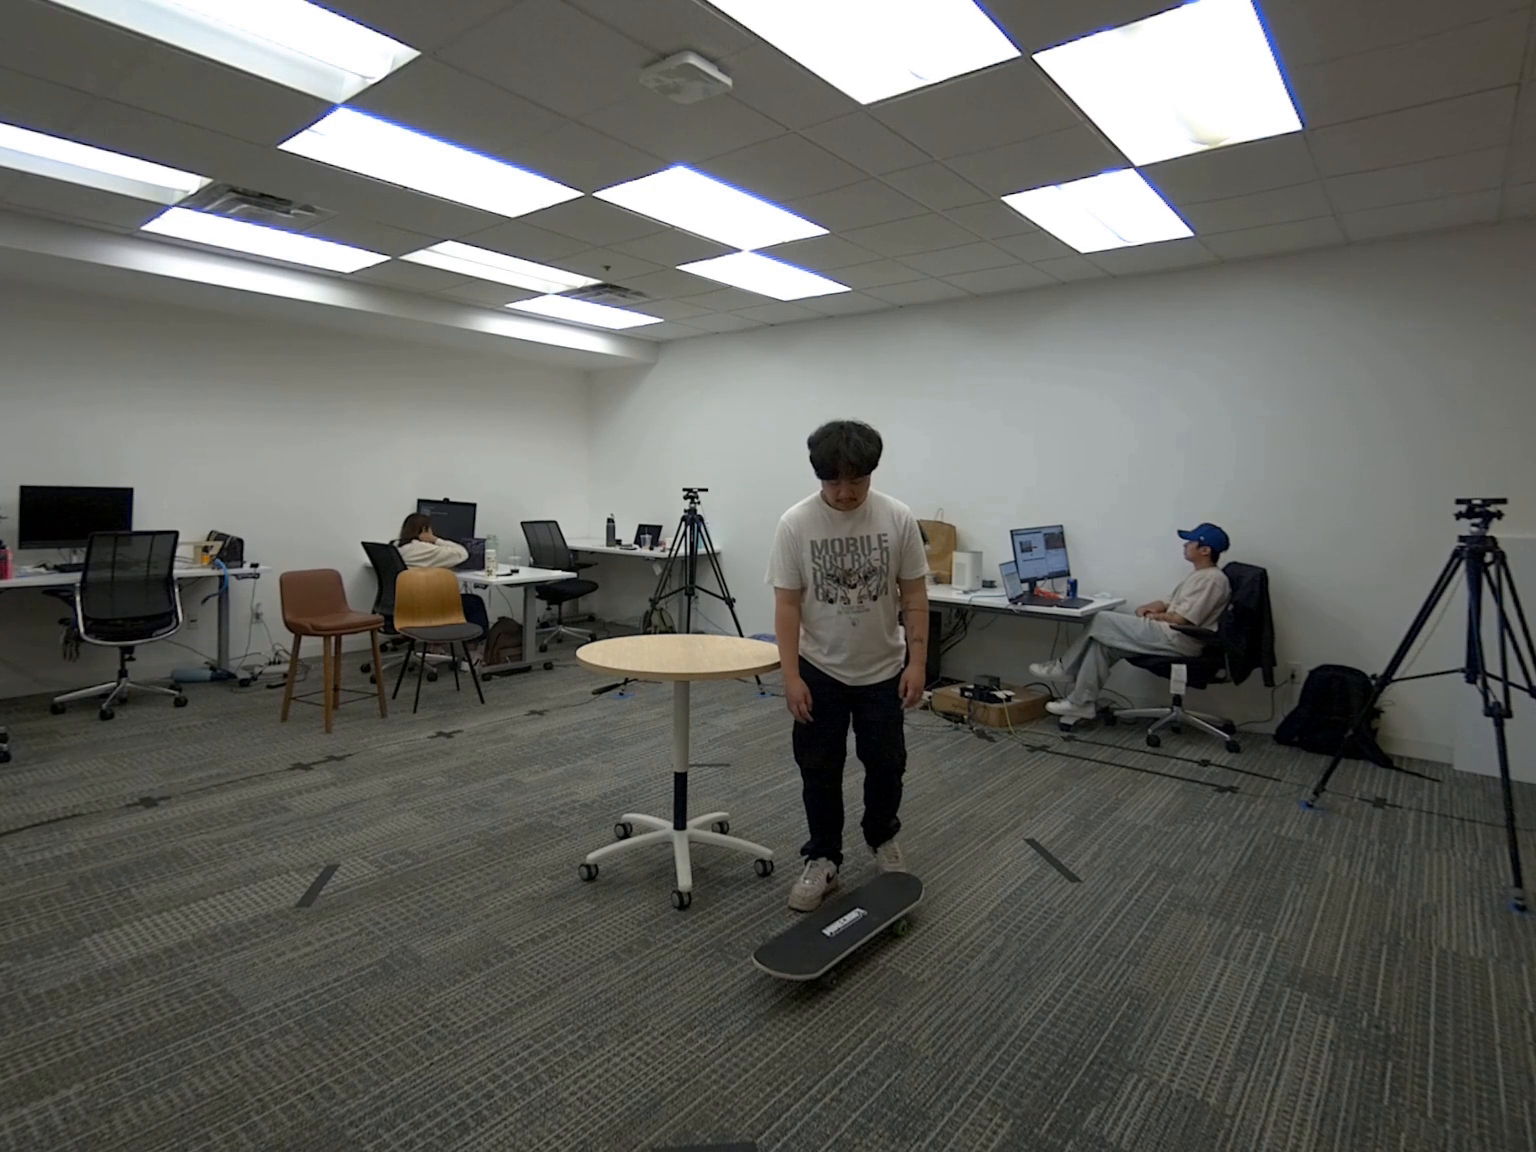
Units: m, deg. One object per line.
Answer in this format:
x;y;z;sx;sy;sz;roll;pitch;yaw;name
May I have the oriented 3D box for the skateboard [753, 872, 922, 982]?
0.240;1.085;2.573;0.200;0.110;0.762;6;7;39;skateboard
